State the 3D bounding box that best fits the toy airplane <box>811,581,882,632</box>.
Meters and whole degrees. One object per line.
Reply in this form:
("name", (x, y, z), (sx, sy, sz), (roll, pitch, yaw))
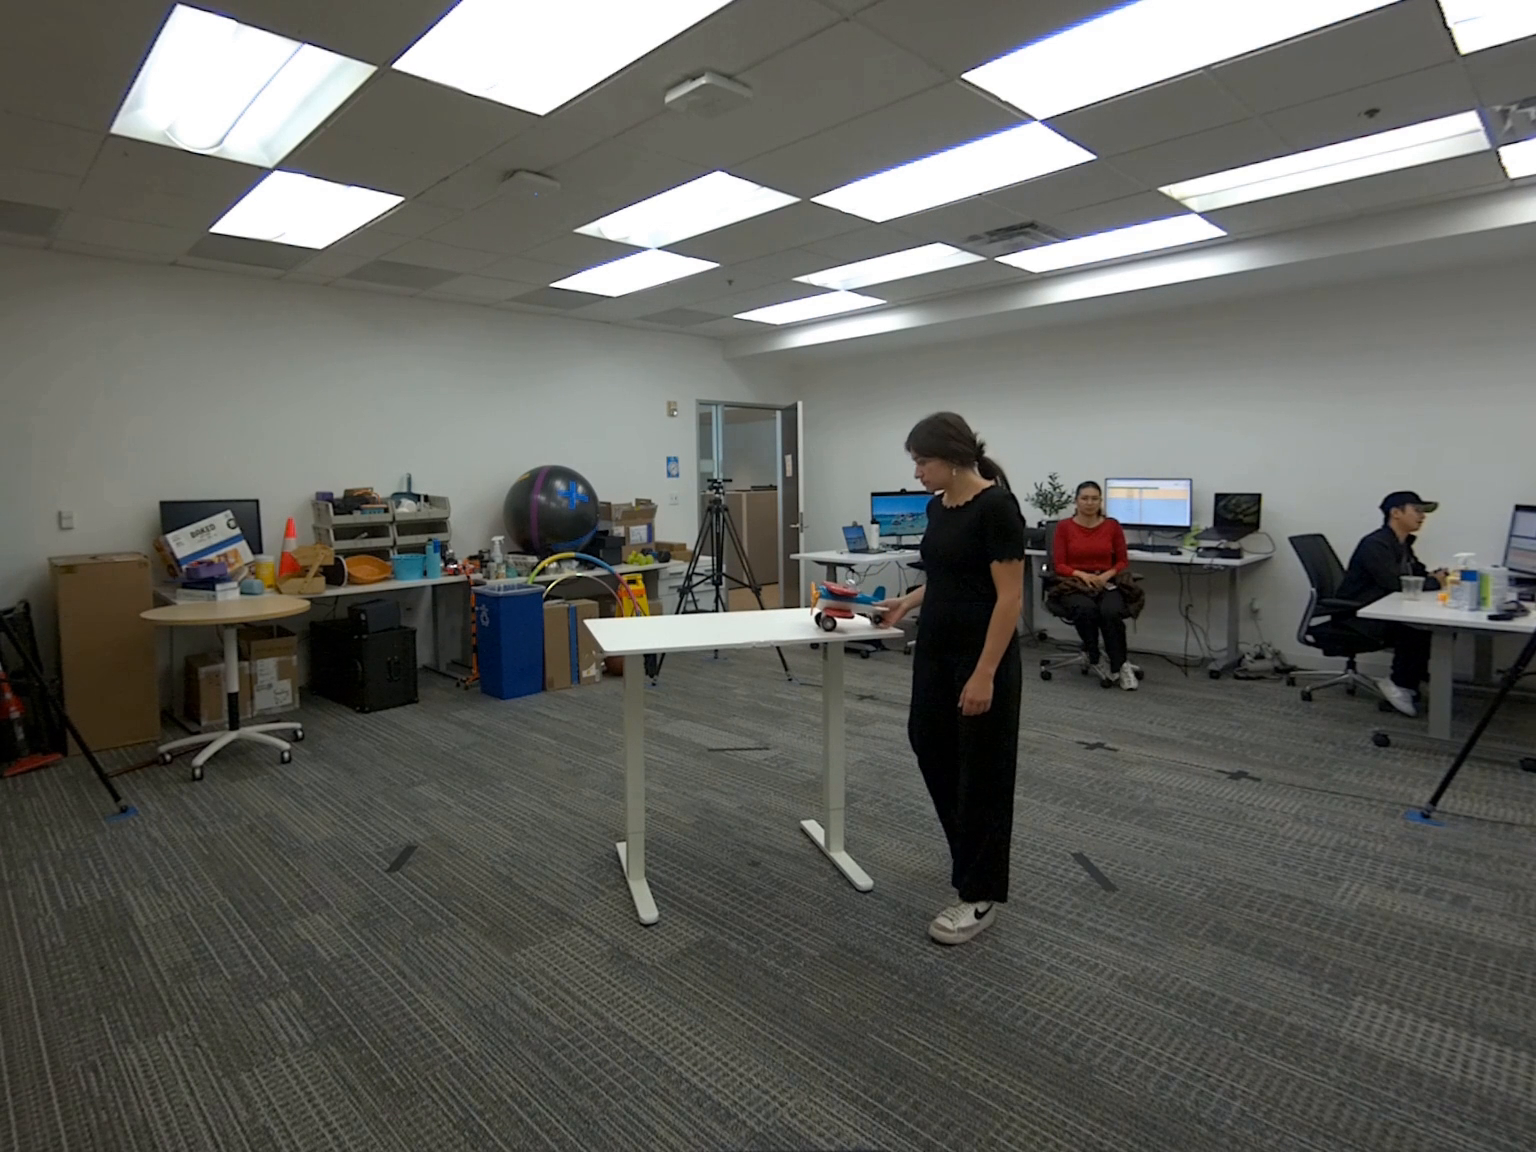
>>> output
("toy airplane", (0.277, 0.094, 2.935), (0.253, 0.155, 0.258), (-11, 8, -34))
